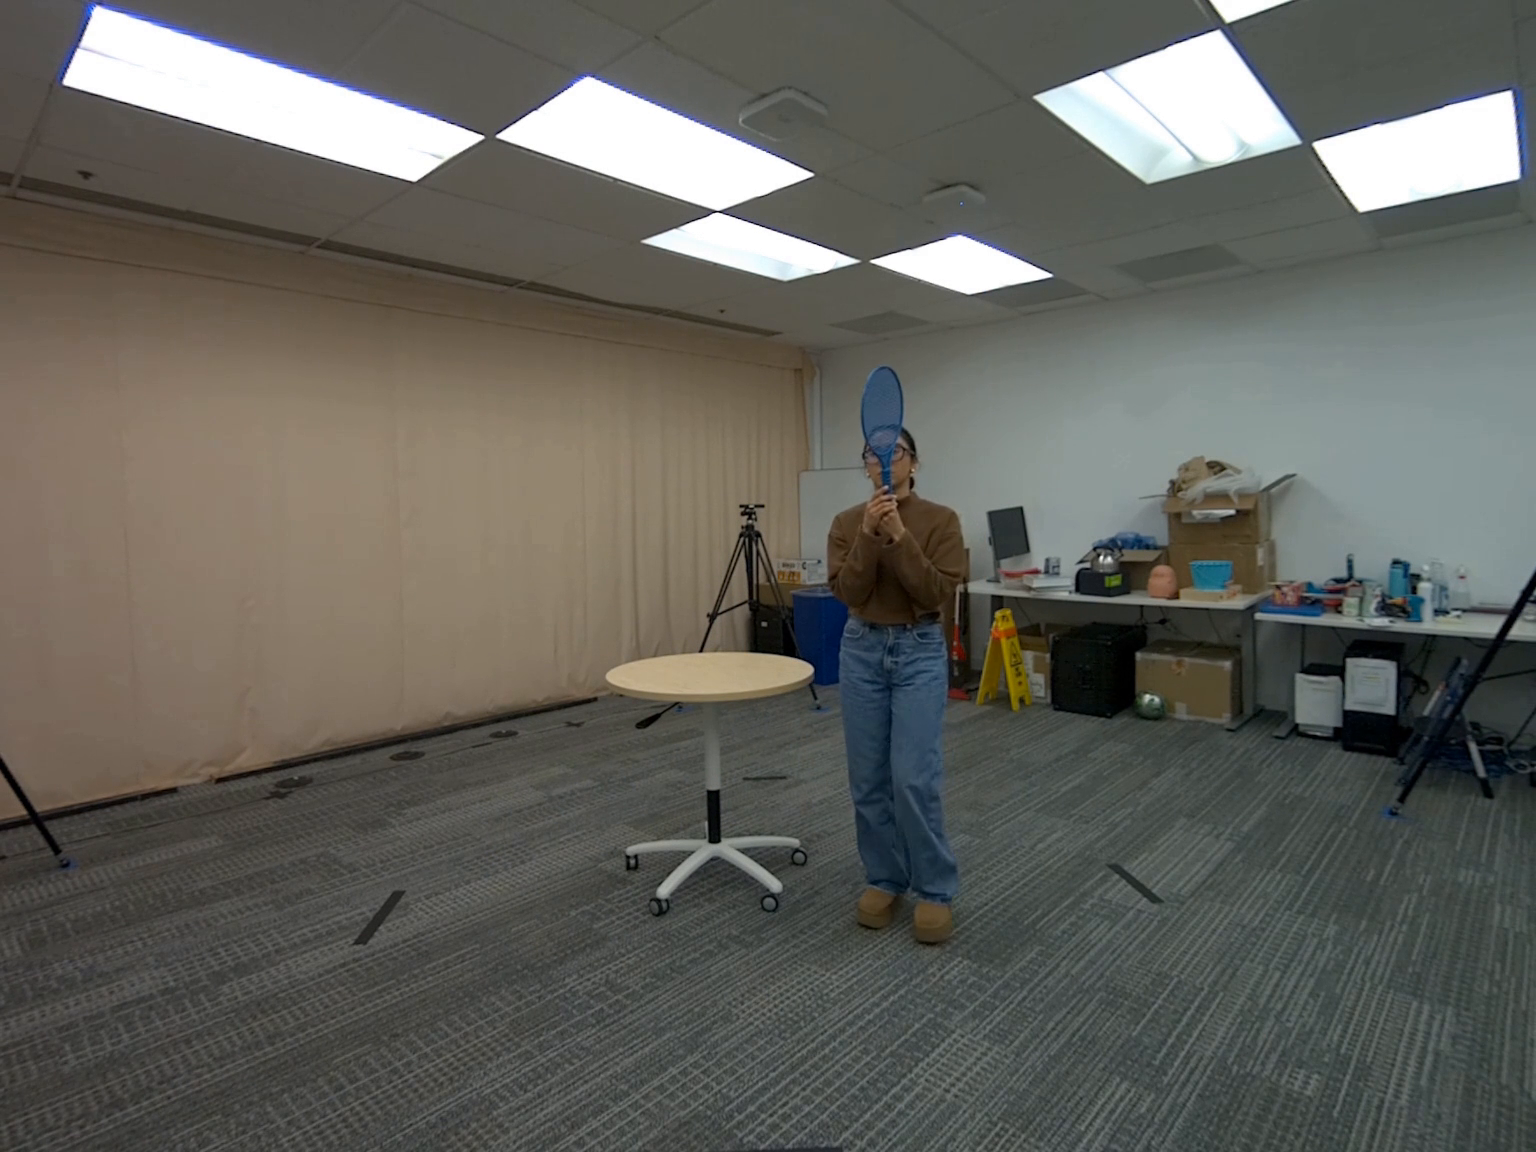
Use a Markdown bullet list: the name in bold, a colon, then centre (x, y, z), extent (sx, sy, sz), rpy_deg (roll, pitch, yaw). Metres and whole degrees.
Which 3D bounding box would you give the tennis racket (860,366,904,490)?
- **tennis racket**: centre (0.363, -0.419, 2.539), extent (0.033, 0.427, 0.209), rpy_deg (13, 27, 42)
